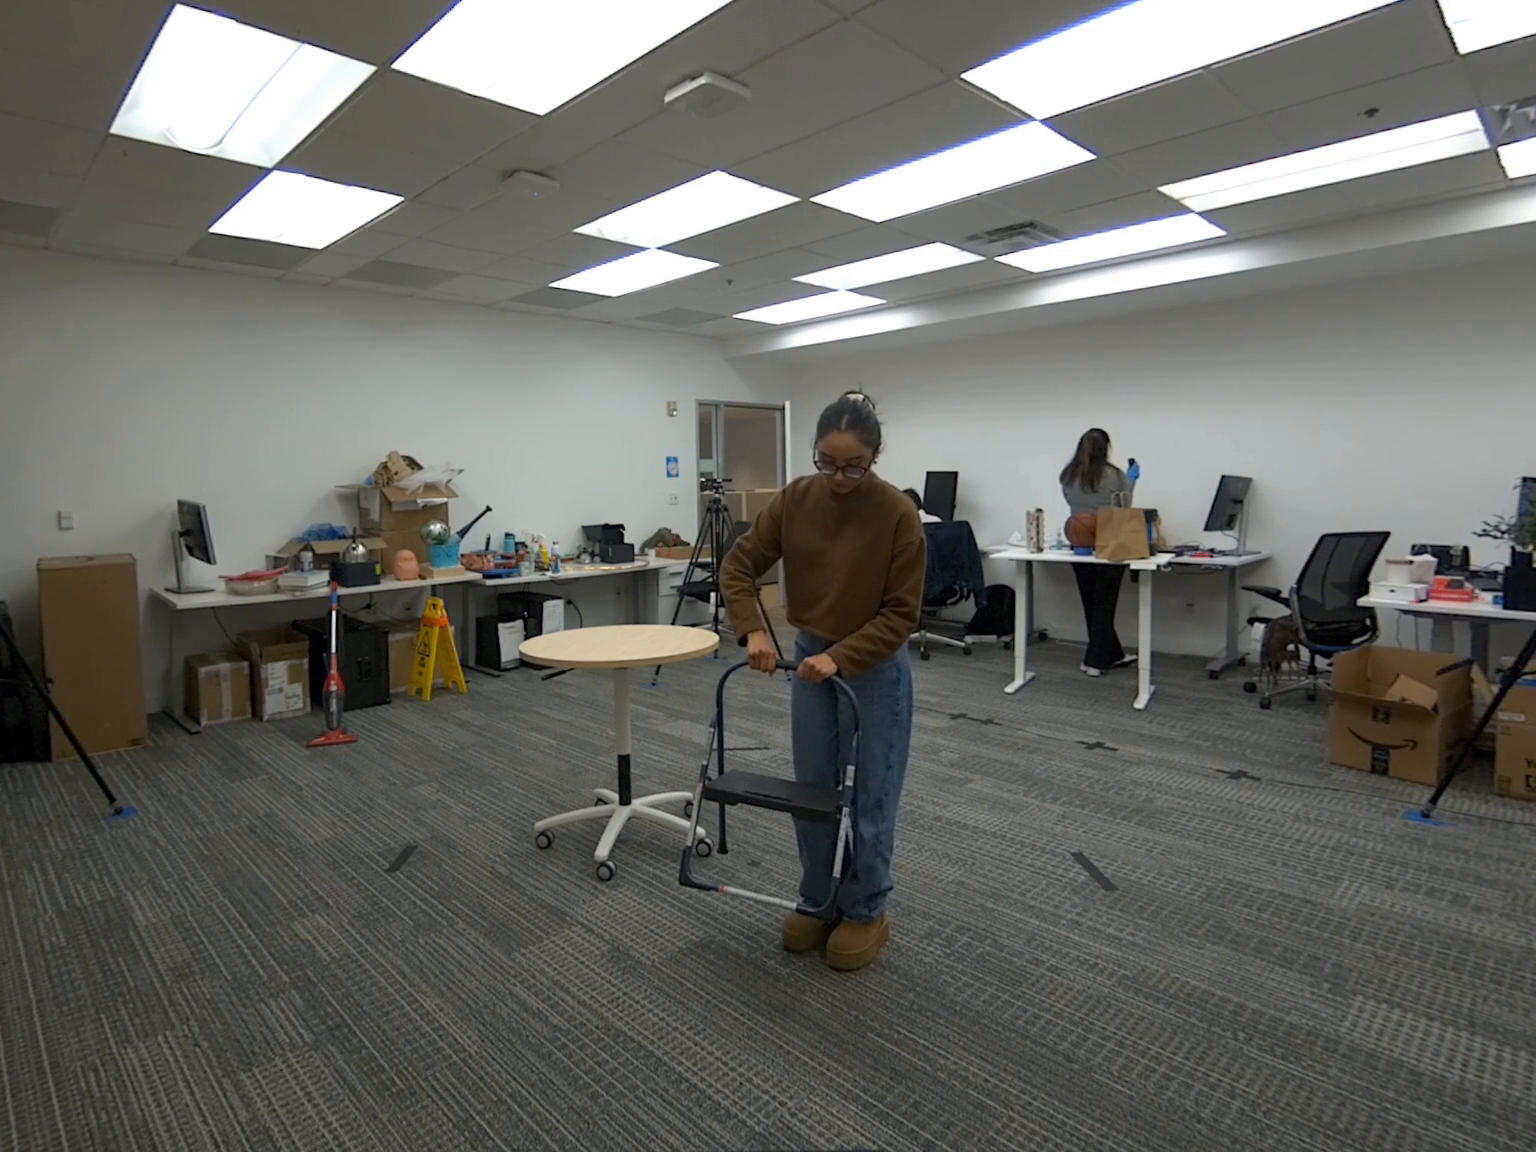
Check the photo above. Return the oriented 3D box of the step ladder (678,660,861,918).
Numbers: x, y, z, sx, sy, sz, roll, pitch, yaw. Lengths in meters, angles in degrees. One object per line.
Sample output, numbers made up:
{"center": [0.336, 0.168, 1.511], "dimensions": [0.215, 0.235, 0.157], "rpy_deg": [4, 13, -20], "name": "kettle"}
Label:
{"center": [0.039, 0.537, 2.310], "dimensions": [0.438, 0.607, 0.342], "rpy_deg": [4, -1, 17], "name": "step ladder"}
